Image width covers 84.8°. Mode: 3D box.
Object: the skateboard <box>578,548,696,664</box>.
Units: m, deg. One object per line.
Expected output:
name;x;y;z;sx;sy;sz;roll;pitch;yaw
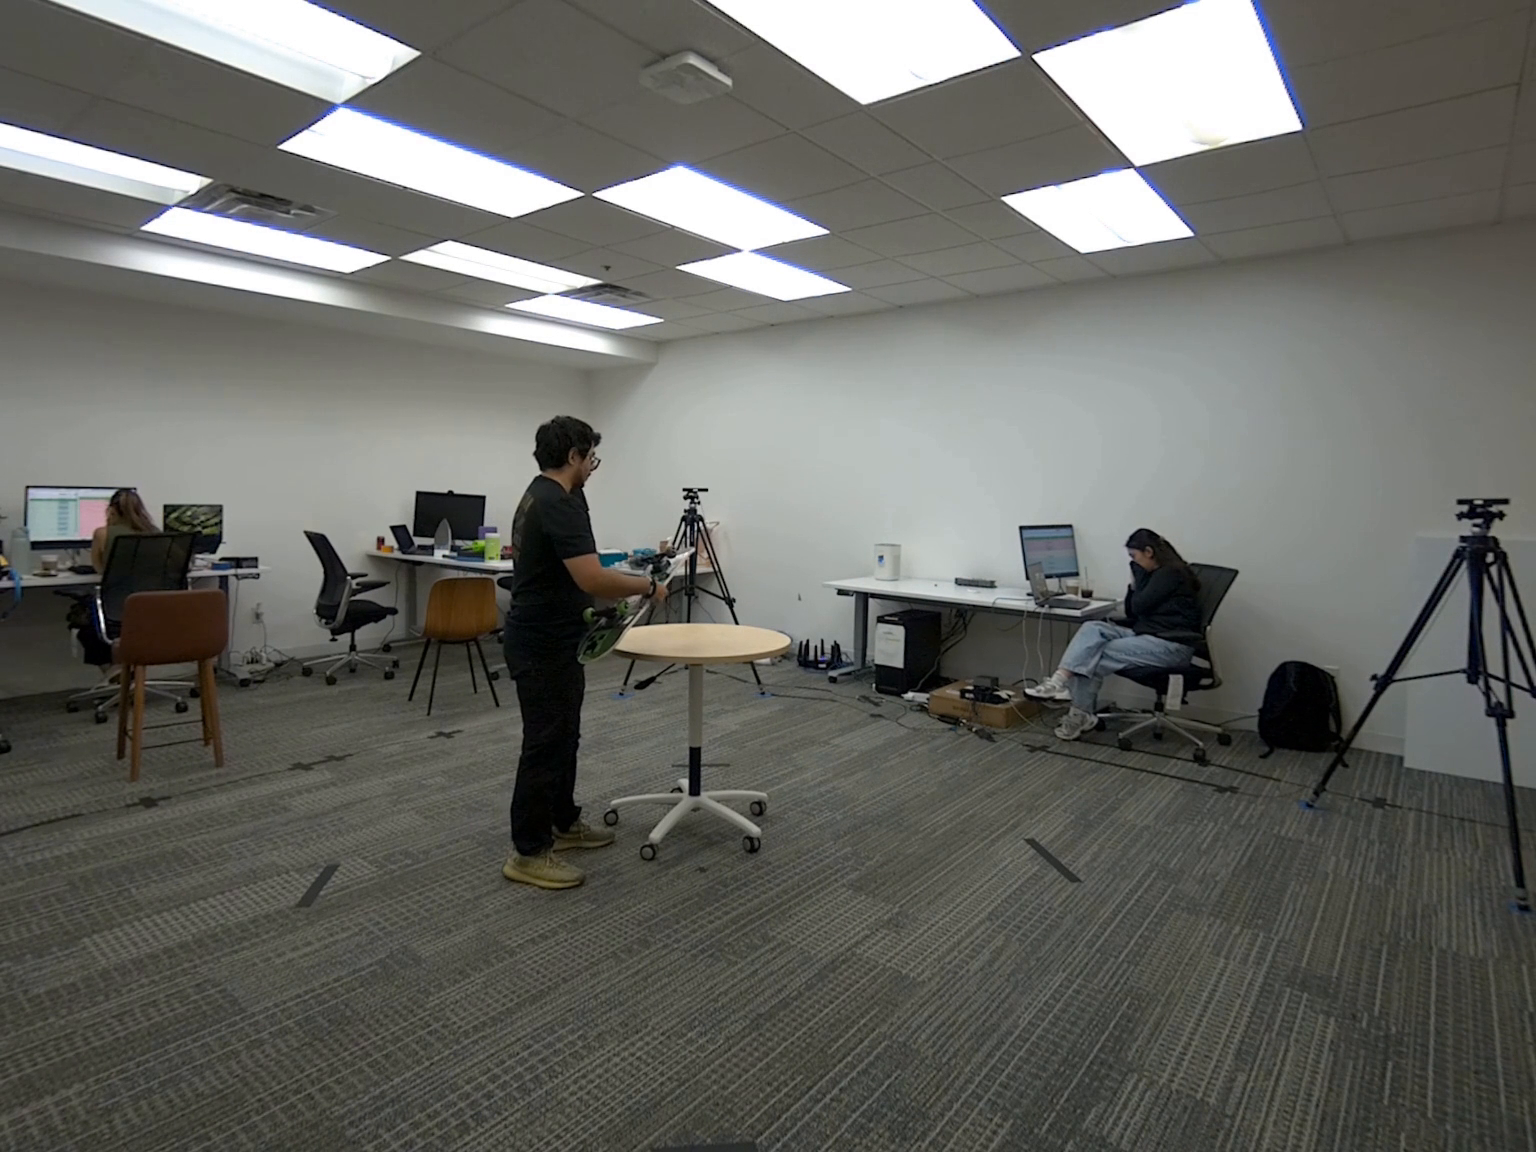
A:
skateboard;-0.505;0.054;3.096;0.197;0.108;0.788;-17;24;33
